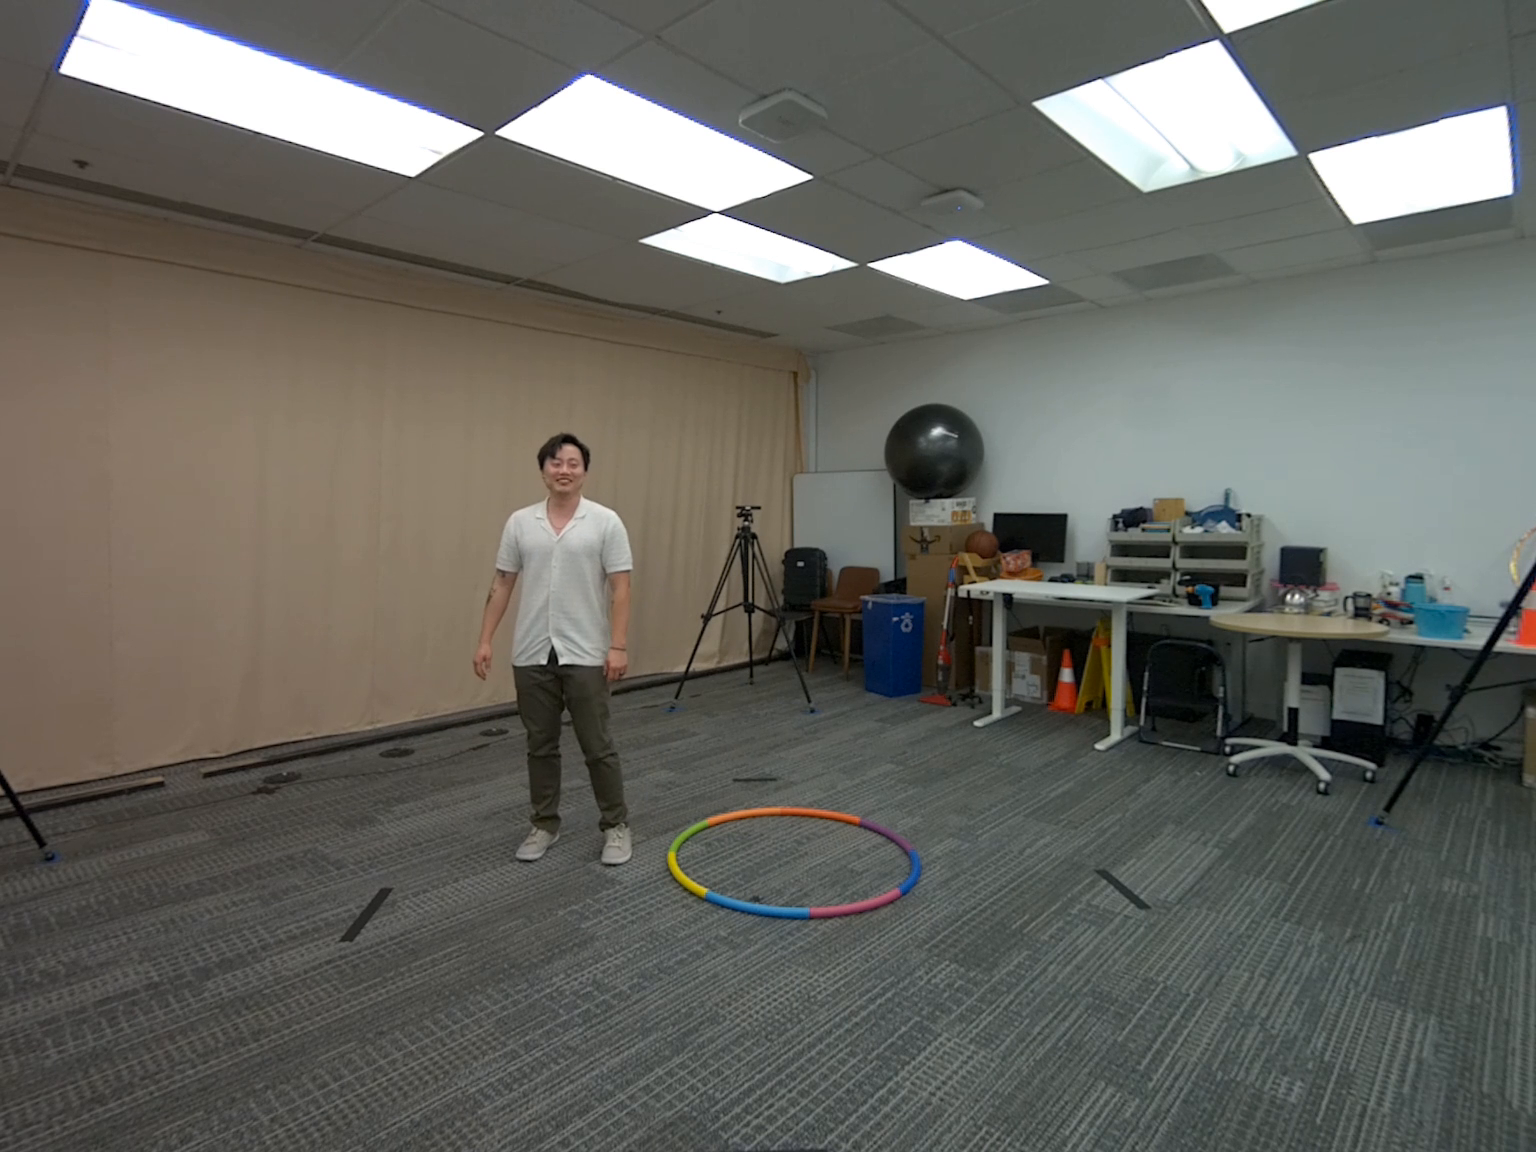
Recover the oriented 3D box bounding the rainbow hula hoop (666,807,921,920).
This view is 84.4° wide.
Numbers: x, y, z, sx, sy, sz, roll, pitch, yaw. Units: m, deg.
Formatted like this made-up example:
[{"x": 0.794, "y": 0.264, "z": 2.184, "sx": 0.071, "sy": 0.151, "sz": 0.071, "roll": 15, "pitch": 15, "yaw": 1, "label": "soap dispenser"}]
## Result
[{"x": 0.098, "y": 1.085, "z": 3.316, "sx": 0.978, "sy": 0.035, "sz": 0.982, "roll": 0, "pitch": 5, "yaw": -2, "label": "rainbow hula hoop"}]
